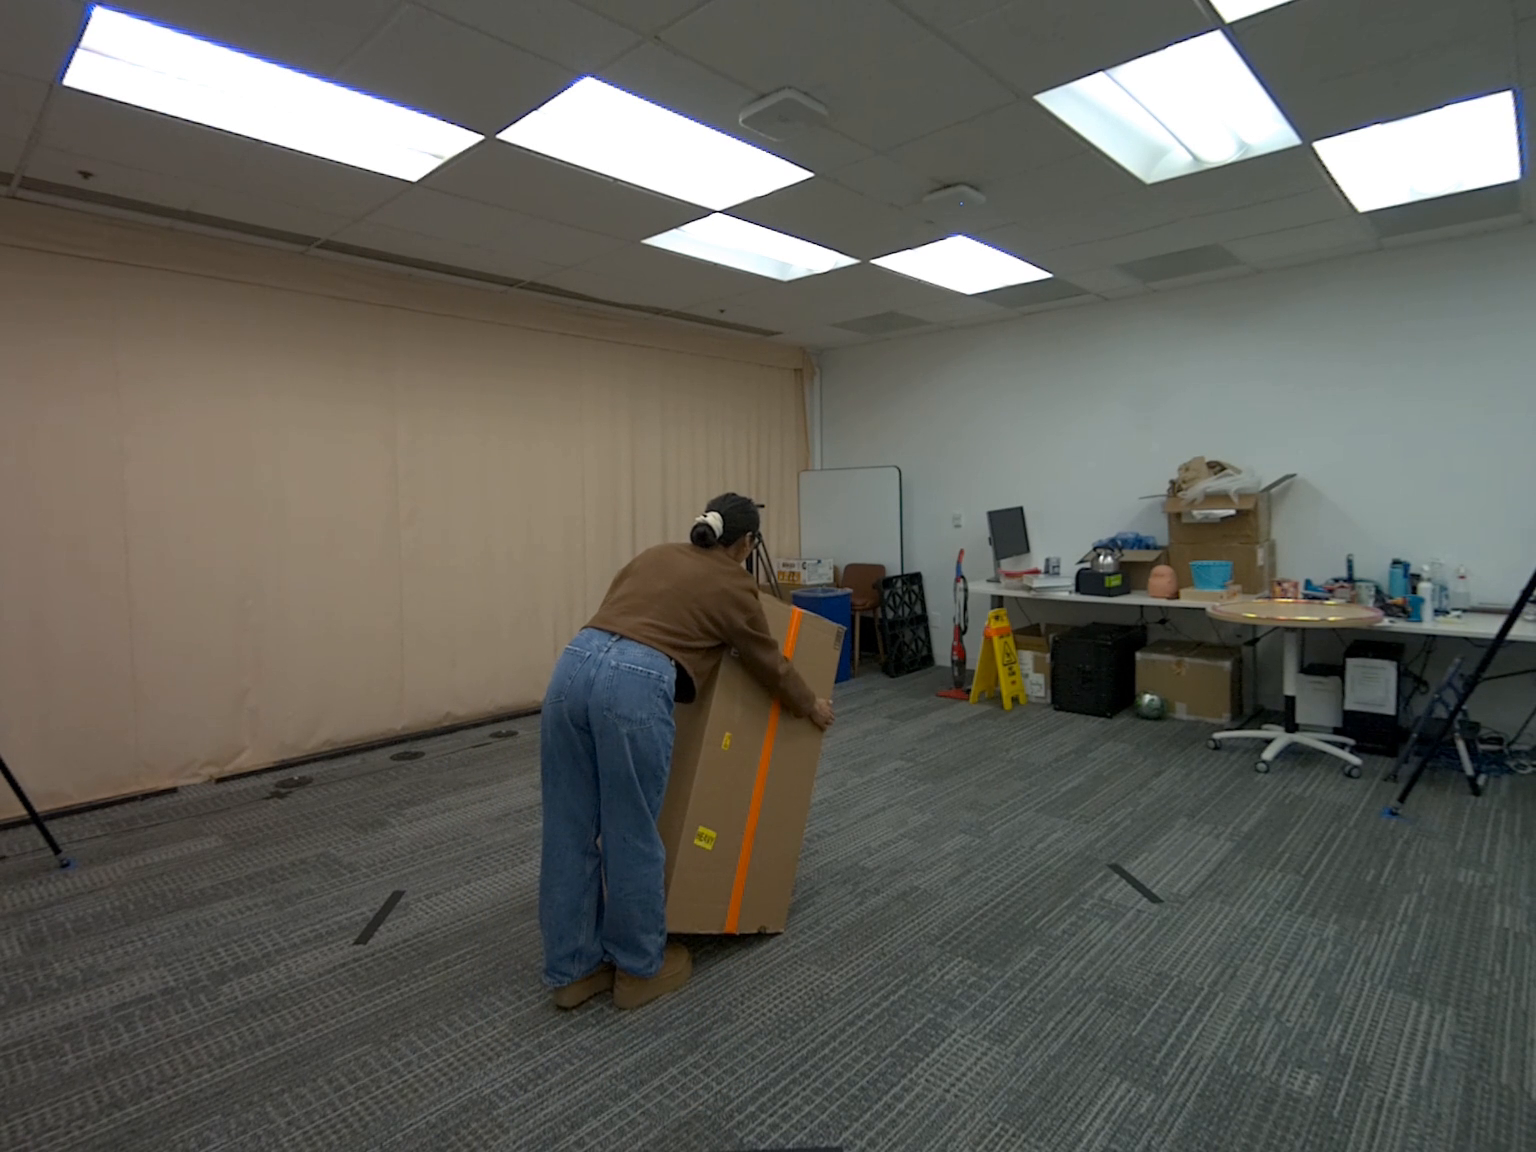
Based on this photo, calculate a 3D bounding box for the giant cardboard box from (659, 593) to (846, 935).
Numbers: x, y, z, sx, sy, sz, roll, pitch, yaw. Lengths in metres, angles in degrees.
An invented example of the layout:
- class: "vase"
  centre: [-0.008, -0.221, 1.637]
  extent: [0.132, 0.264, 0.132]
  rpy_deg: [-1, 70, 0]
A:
- class: "giant cardboard box"
  centre: [-0.167, 0.584, 2.799]
  extent: [0.440, 1.030, 0.556]
  rpy_deg: [1, -17, 43]
